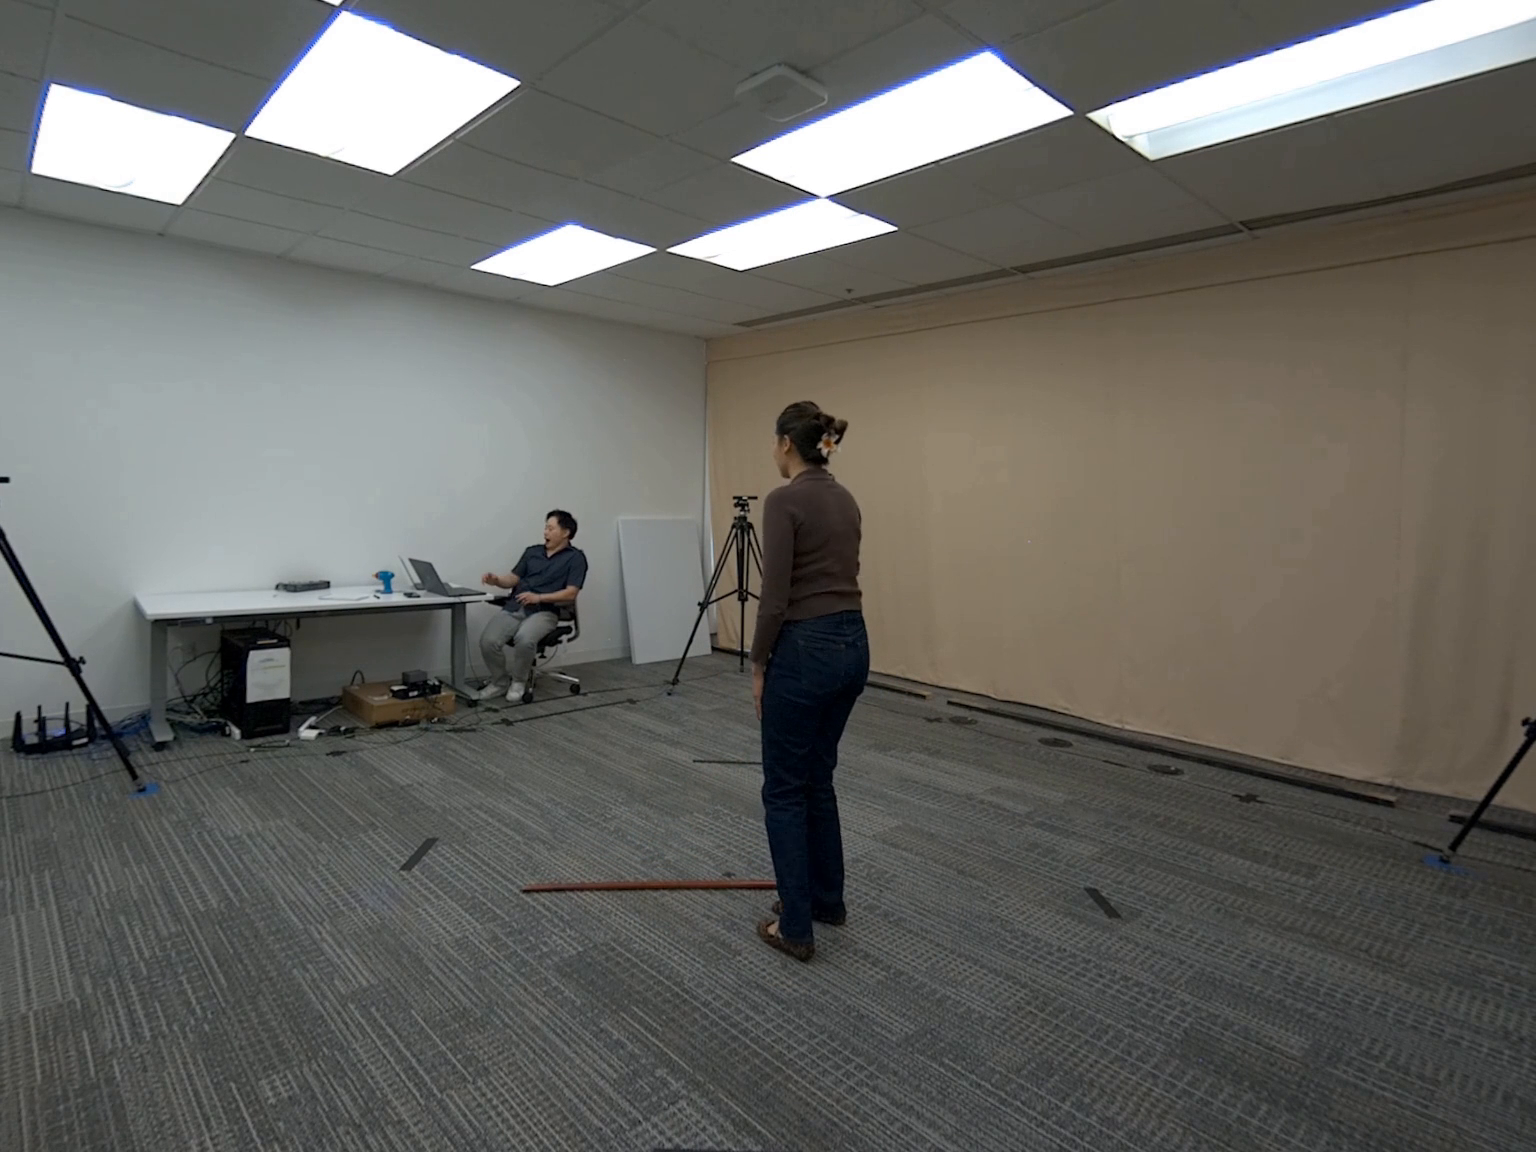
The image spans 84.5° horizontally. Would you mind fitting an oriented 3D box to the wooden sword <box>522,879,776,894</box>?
[{"bbox_3d":[-0.356,1.076,2.966,1.021,0.024,0.052,2,26,-5],"label":"wooden sword"}]
